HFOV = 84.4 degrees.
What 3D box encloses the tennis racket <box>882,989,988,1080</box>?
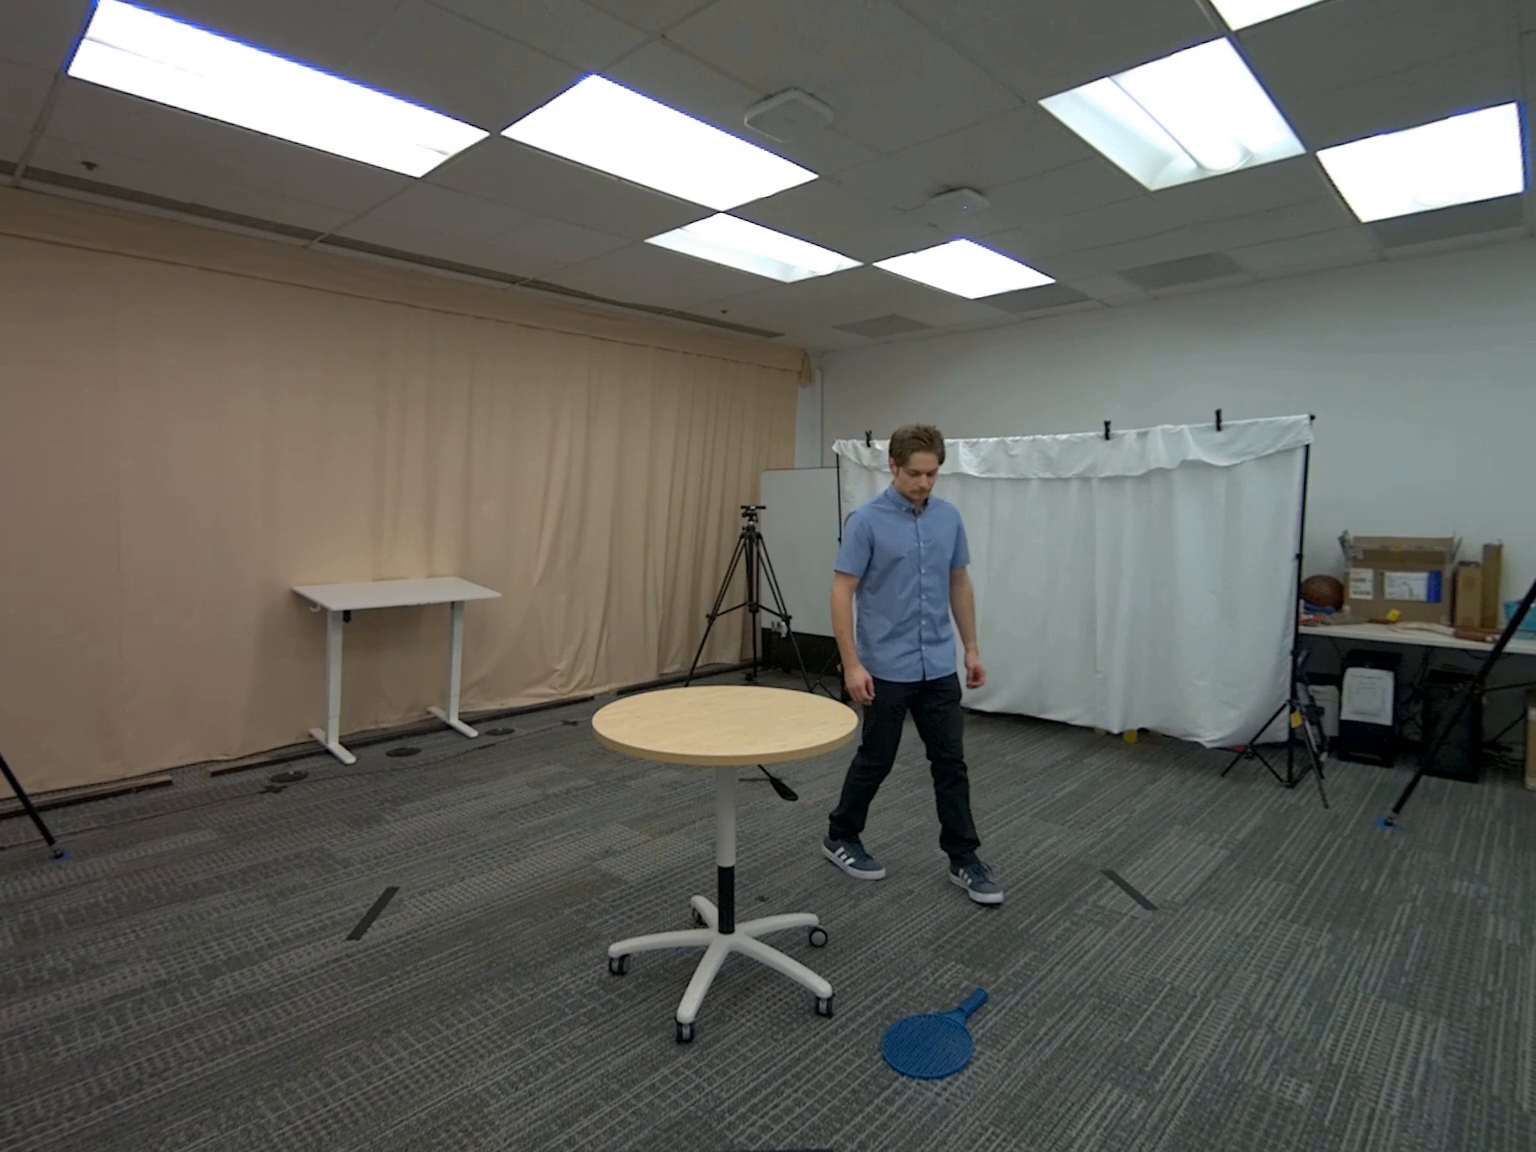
[{"bbox_3d":[0.472,1.196,2.214,0.221,0.031,0.420,4,8,44],"label":"tennis racket"}]
